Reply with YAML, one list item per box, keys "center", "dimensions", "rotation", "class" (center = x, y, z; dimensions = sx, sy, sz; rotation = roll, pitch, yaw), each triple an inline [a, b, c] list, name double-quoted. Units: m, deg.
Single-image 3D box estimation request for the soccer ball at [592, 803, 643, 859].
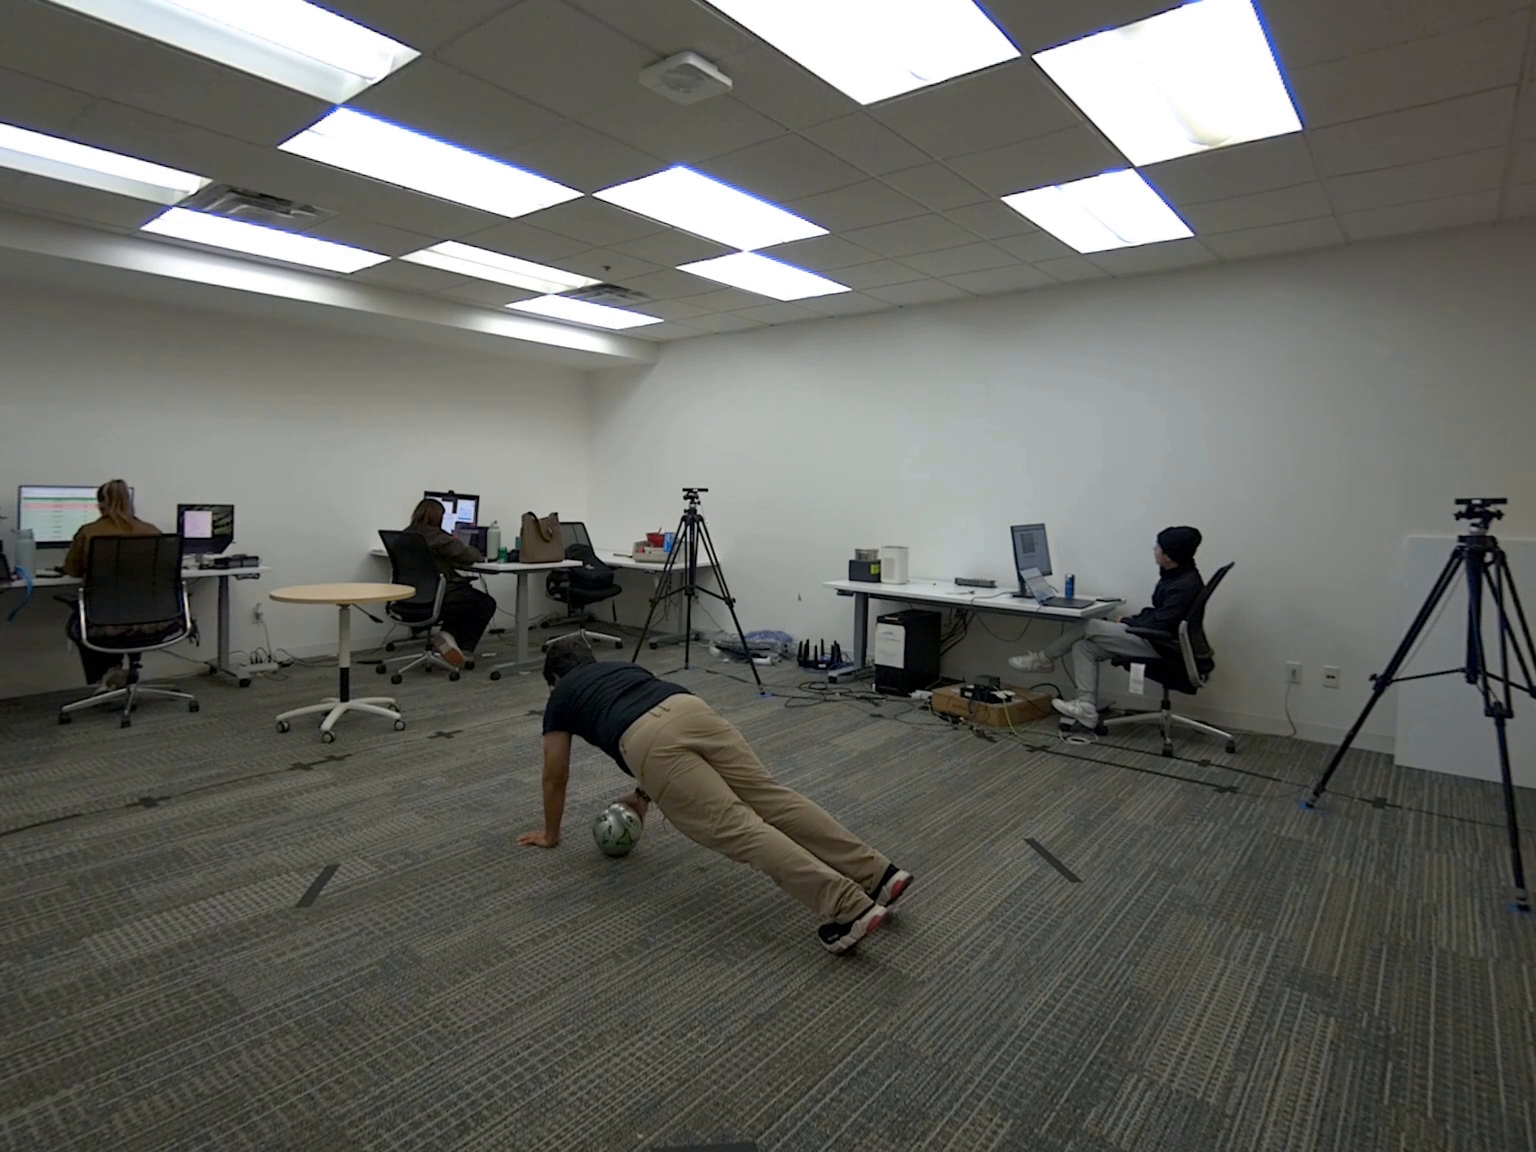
- center: [-0.573, 0.957, 3.247]
  dimensions: [0.187, 0.187, 0.188]
  rotation: [1, 4, -2]
  class: "soccer ball"
